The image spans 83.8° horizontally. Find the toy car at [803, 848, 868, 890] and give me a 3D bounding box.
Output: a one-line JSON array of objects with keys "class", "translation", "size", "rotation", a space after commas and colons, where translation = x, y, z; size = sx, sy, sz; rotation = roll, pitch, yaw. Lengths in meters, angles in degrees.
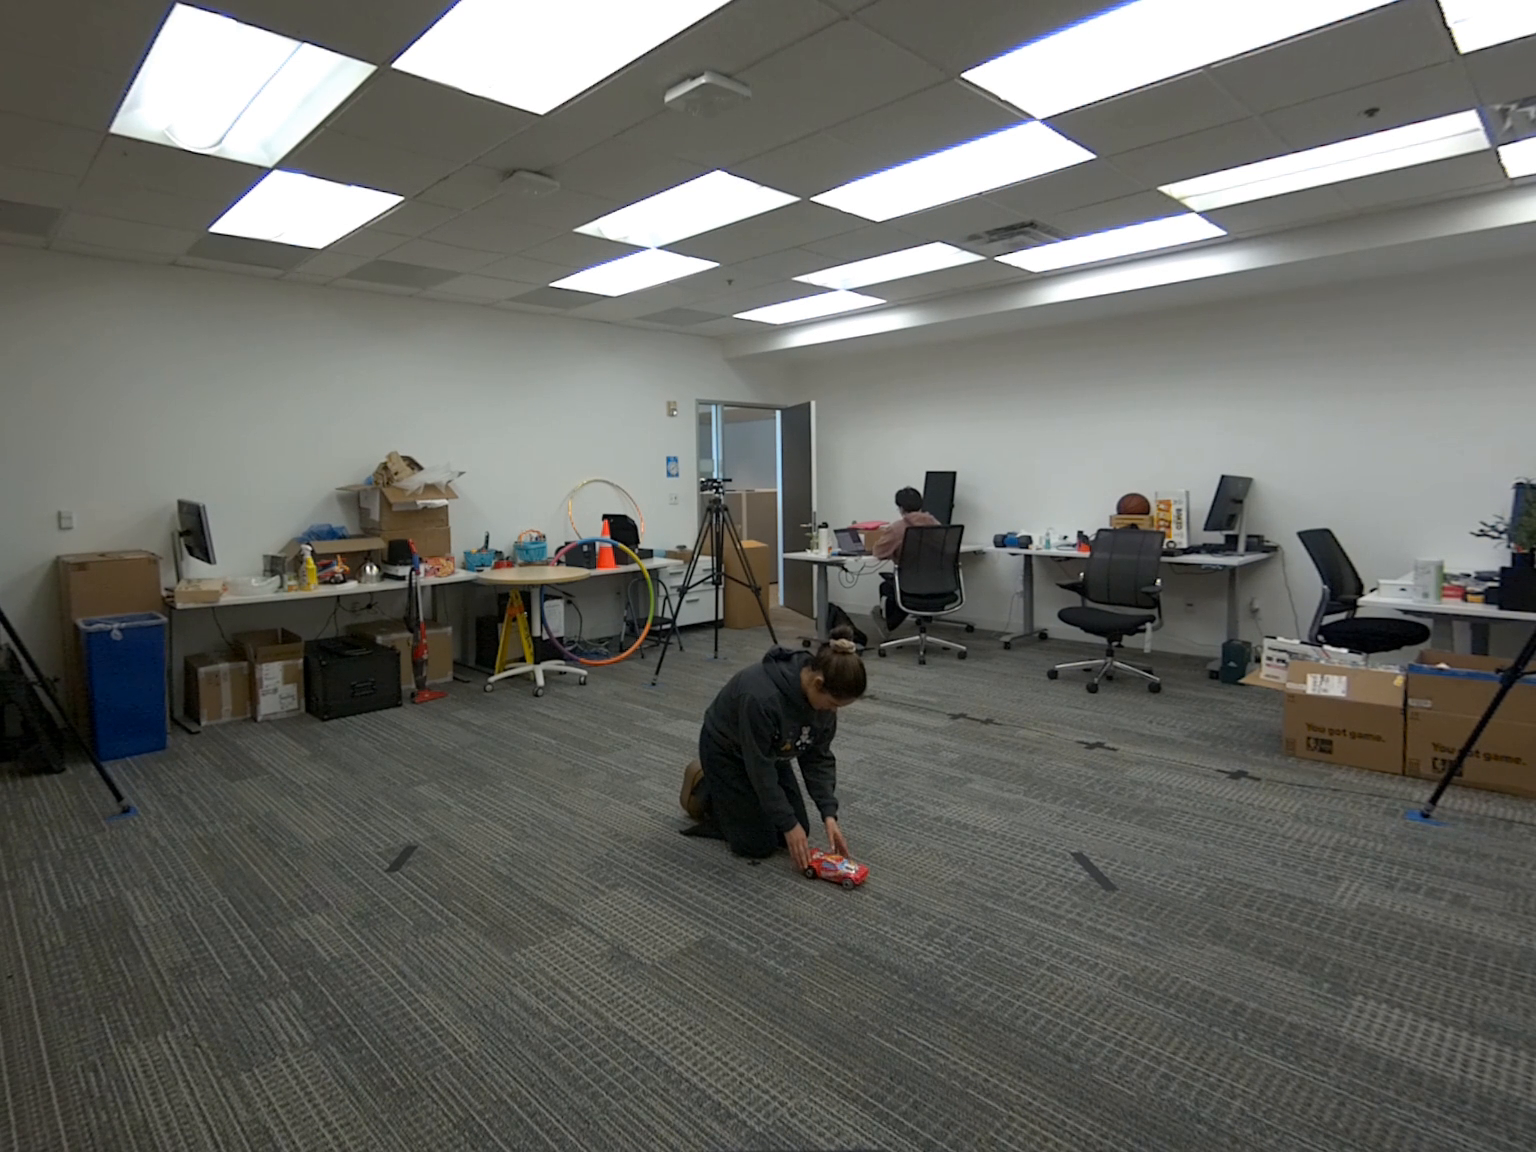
[{"class": "toy car", "translation": [0.222, 1.021, 2.979], "size": [0.263, 0.082, 0.127], "rotation": [14, 12, 33]}]
